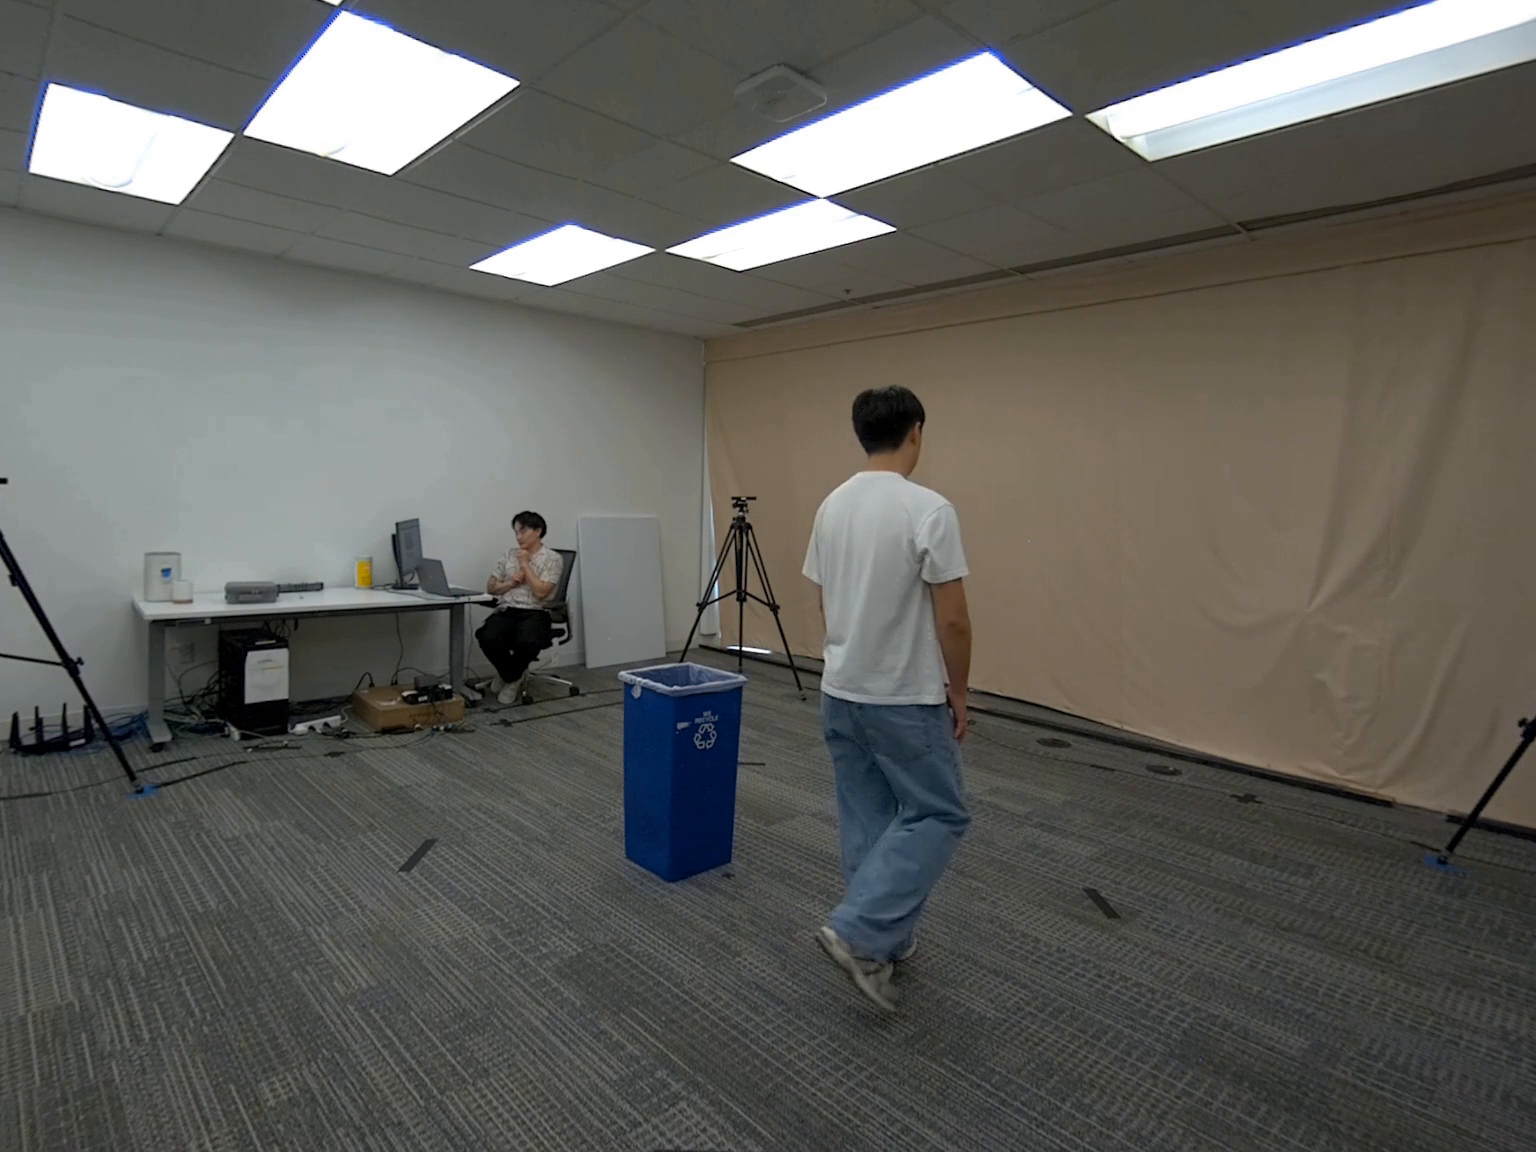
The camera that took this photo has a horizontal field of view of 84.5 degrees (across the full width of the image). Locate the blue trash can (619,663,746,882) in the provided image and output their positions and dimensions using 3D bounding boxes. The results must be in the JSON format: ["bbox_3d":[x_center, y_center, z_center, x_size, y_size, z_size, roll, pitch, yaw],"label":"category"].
[{"bbox_3d":[-0.339,0.732,3.226,0.365,0.712,0.388,-2,5,-43],"label":"blue trash can"}]
